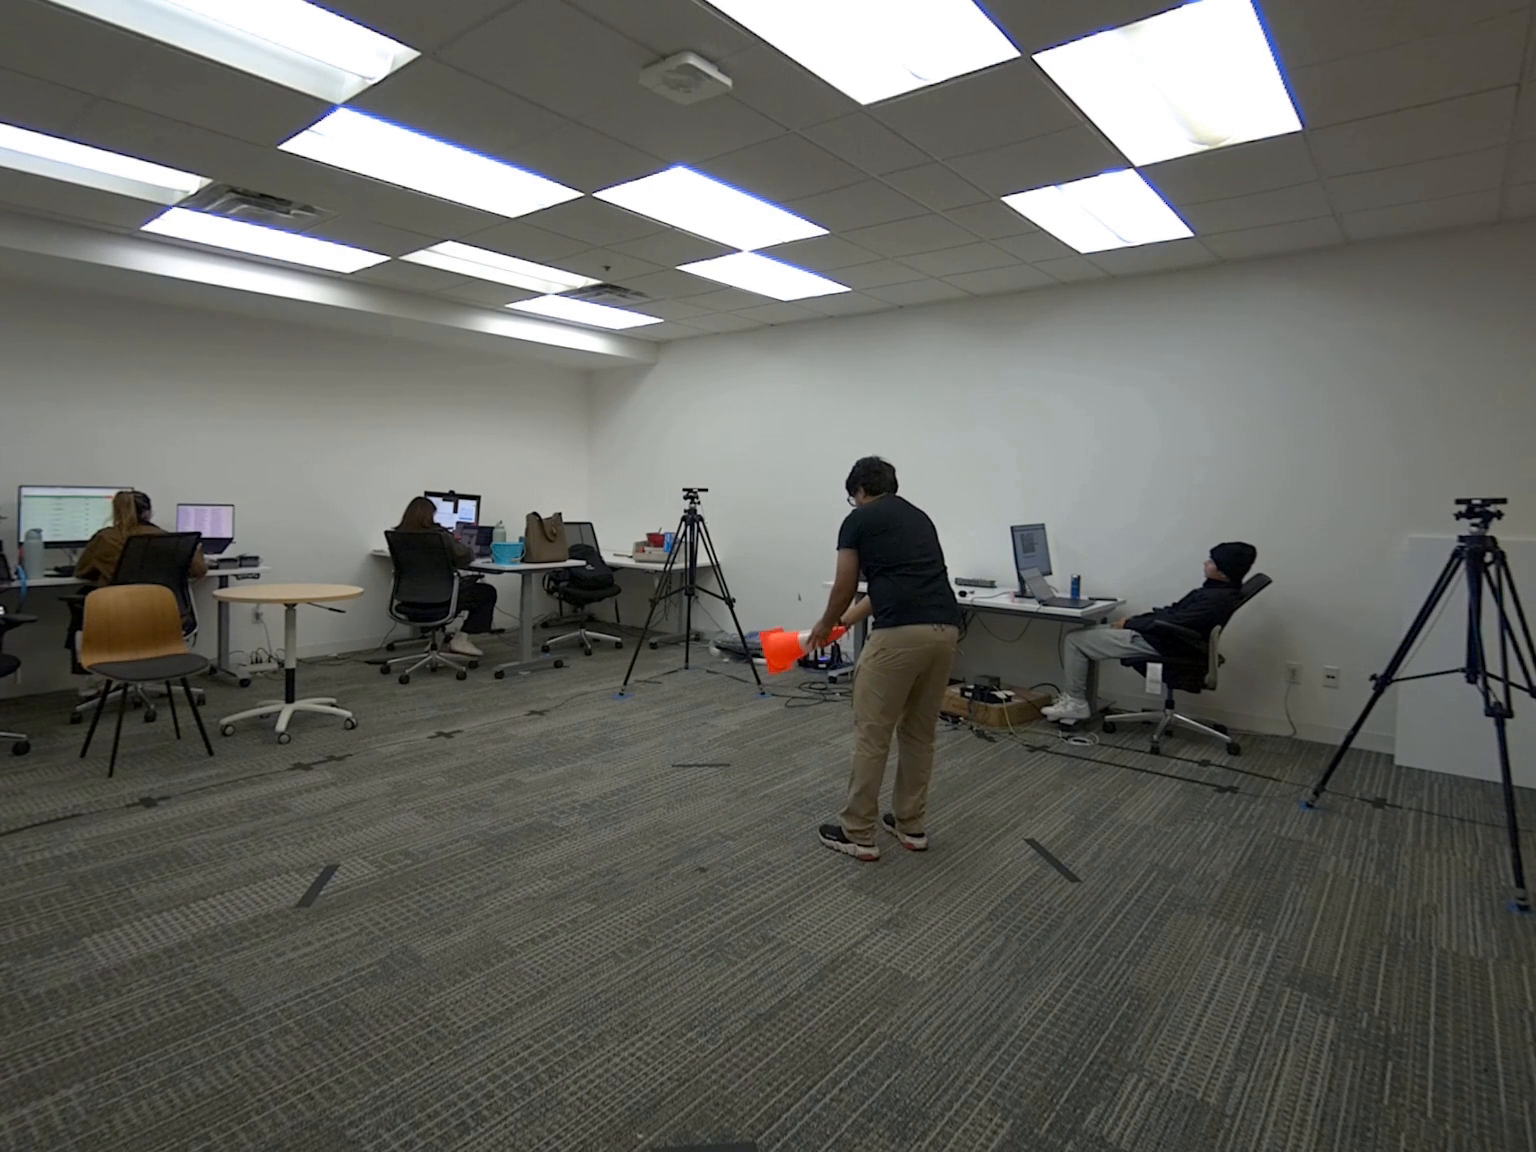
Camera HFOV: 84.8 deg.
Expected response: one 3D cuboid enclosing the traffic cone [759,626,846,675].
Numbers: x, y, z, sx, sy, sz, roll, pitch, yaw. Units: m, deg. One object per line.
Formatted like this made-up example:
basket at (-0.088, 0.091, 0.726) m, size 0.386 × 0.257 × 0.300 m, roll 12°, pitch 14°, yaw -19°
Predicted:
traffic cone at (0.174, 0.291, 3.812) m, size 0.391 × 0.207 × 0.198 m, roll -18°, pitch -7°, yaw 35°
